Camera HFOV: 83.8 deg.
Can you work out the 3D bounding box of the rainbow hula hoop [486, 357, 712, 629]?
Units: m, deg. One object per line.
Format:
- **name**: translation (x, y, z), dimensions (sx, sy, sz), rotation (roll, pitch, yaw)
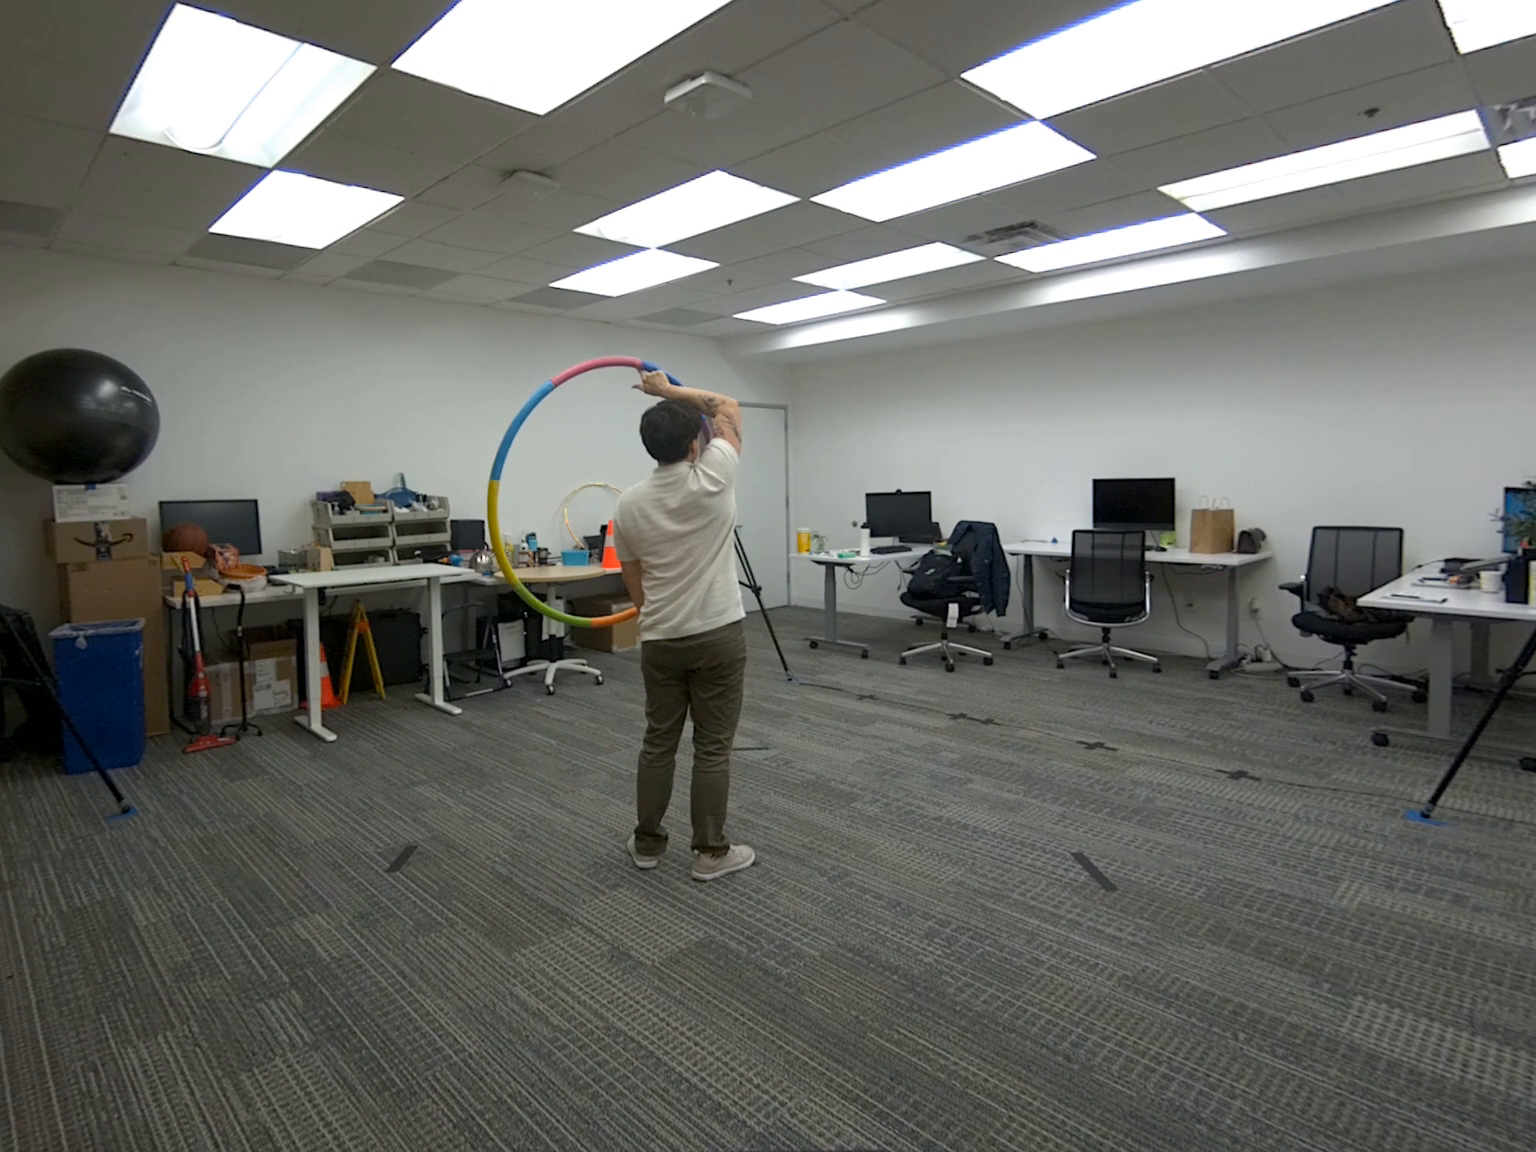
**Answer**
- **rainbow hula hoop**: translation (-0.551, -0.289, 3.107), dimensions (0.953, 0.969, 0.037), rotation (-5, 17, -43)
